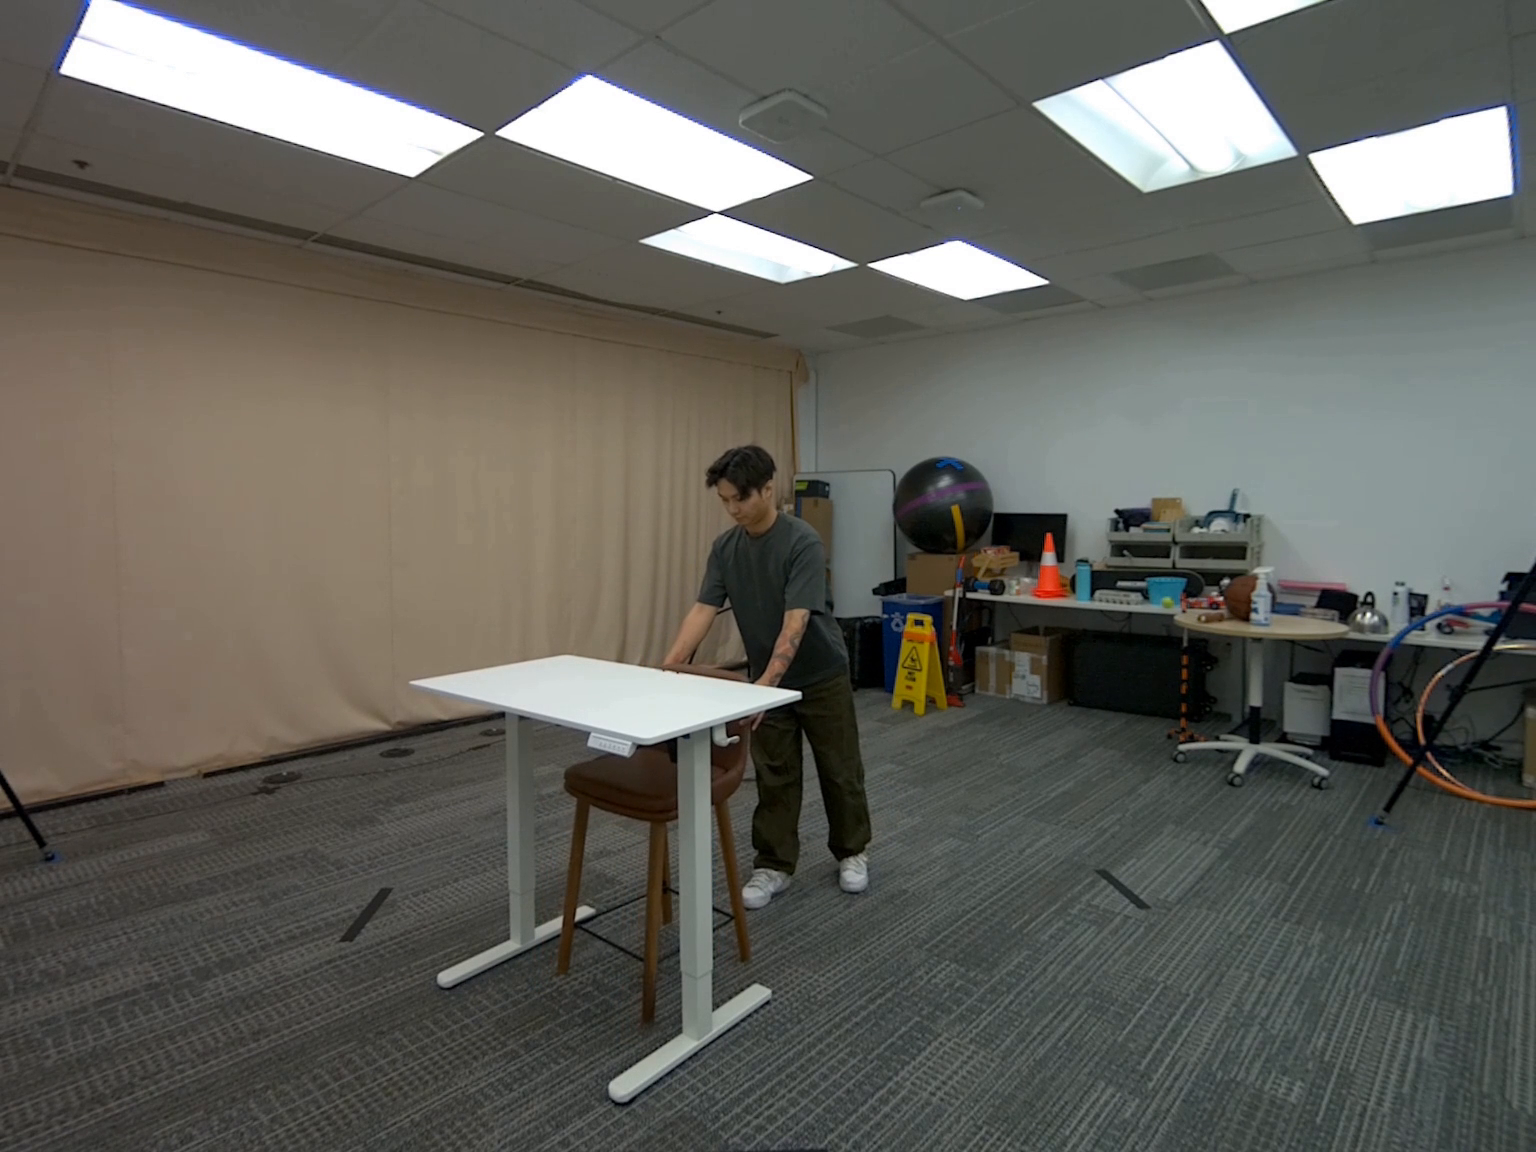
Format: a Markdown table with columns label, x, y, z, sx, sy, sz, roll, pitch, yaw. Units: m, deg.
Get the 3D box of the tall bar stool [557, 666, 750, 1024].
| label | x | y | z | sx | sy | sz | roll | pitch | yaw |
| --- | --- | --- | --- | --- | --- | --- | --- | --- | --- |
| tall bar stool | -0.327 | 0.745 | 2.535 | 0.471 | 0.889 | 0.452 | 2 | 1 | 41 |
